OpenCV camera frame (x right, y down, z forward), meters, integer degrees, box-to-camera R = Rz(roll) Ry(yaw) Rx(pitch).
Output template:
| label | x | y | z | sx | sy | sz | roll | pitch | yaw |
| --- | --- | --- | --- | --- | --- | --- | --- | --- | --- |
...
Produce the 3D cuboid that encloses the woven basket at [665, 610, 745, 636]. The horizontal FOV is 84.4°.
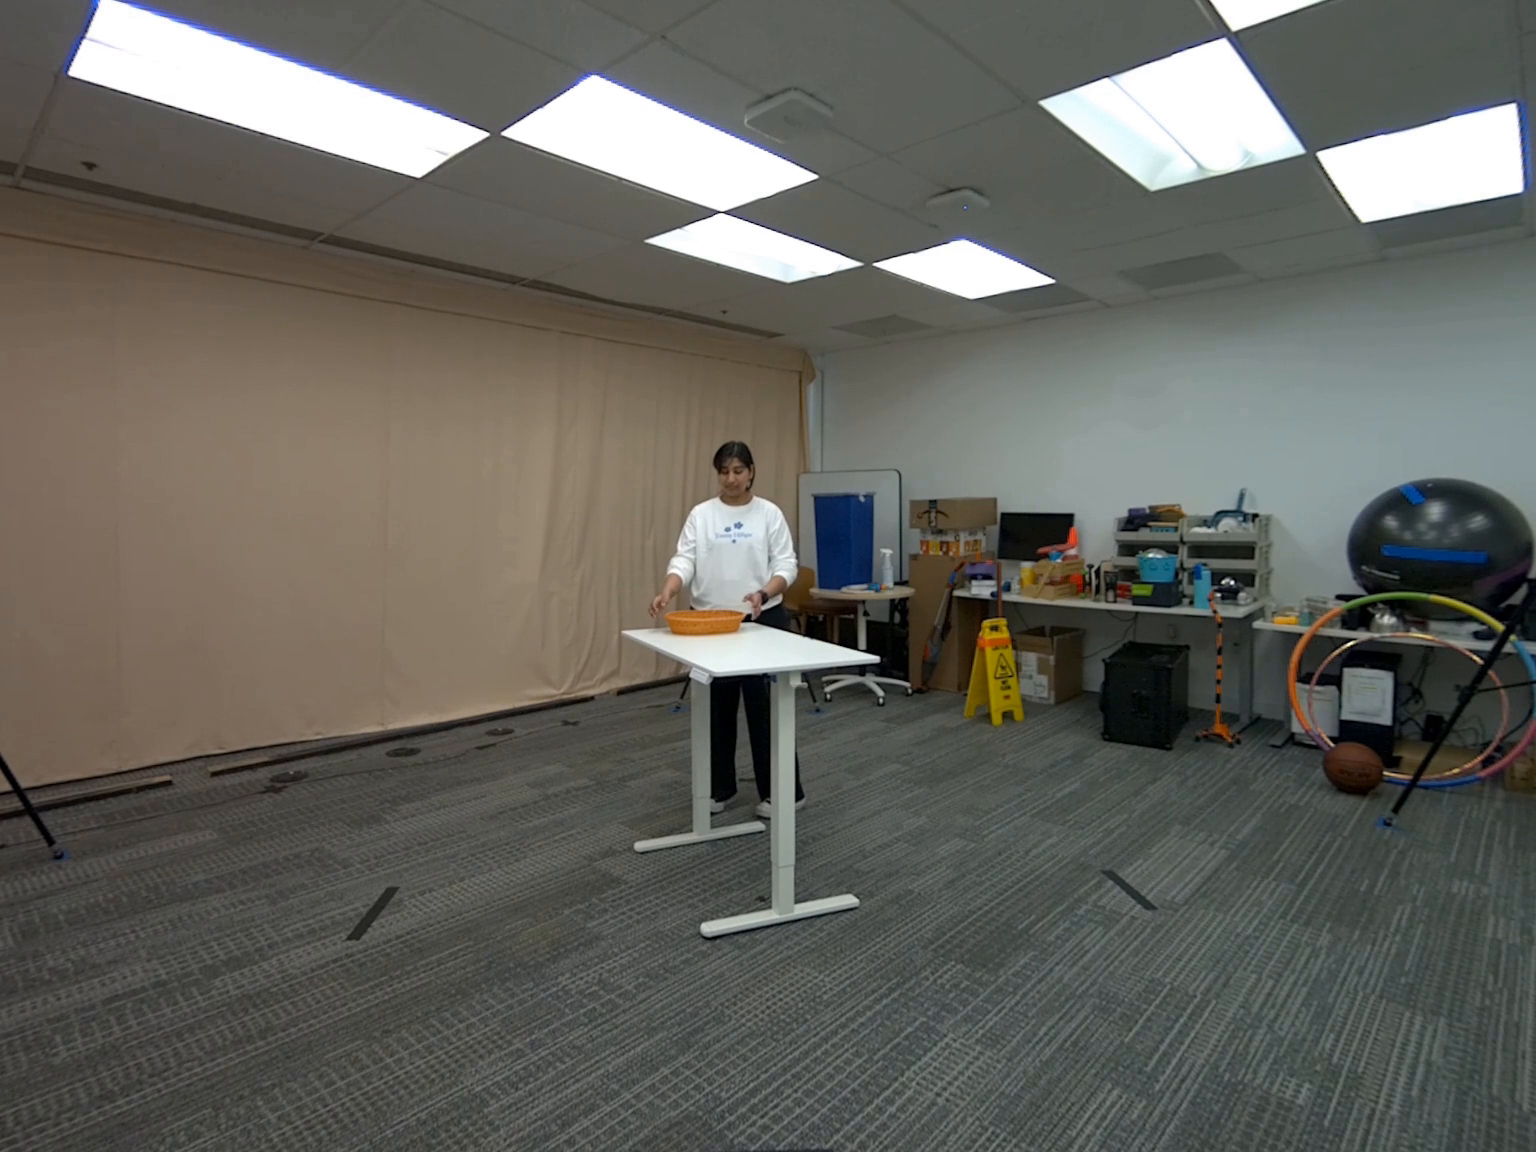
| label | x | y | z | sx | sy | sz | roll | pitch | yaw |
| --- | --- | --- | --- | --- | --- | --- | --- | --- | --- |
| woven basket | -0.271 | 0.193 | 3.462 | 0.342 | 0.073 | 0.259 | -1 | 7 | -24 |
